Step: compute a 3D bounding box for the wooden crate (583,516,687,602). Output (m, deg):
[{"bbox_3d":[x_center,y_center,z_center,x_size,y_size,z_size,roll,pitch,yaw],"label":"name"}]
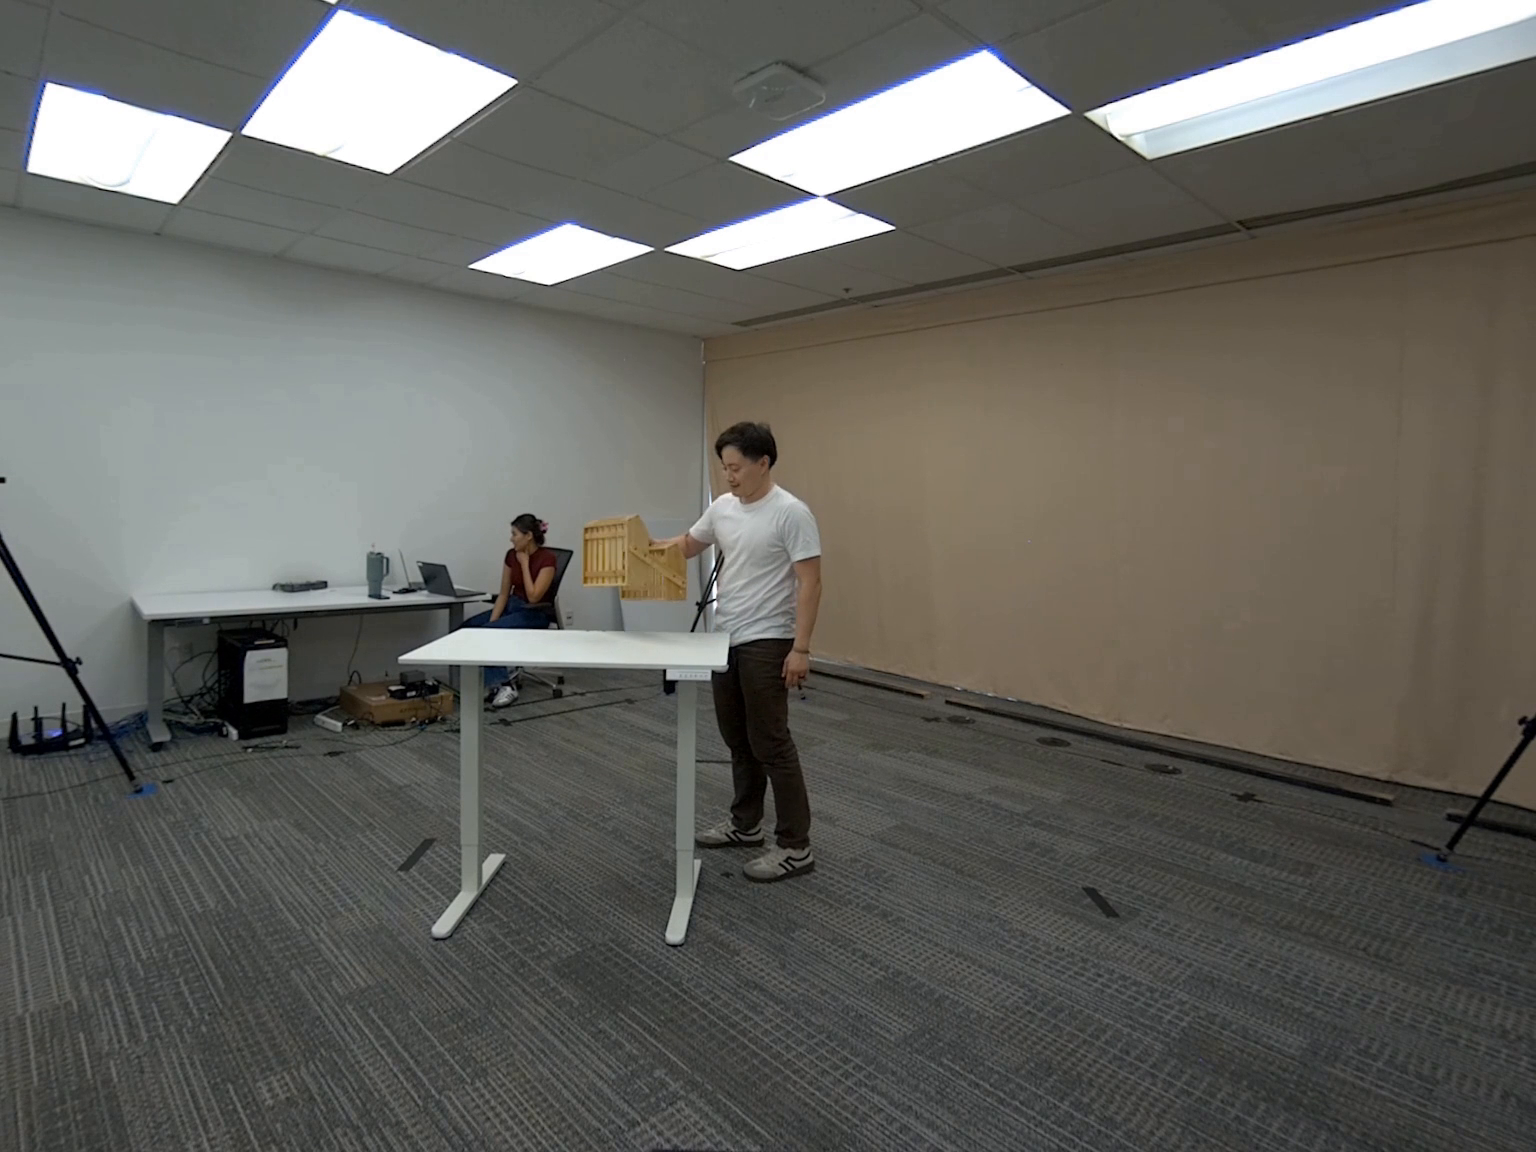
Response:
[{"bbox_3d":[-0.495,-0.058,3.108,0.266,0.303,0.332,3,-3,-42],"label":"wooden crate"}]
